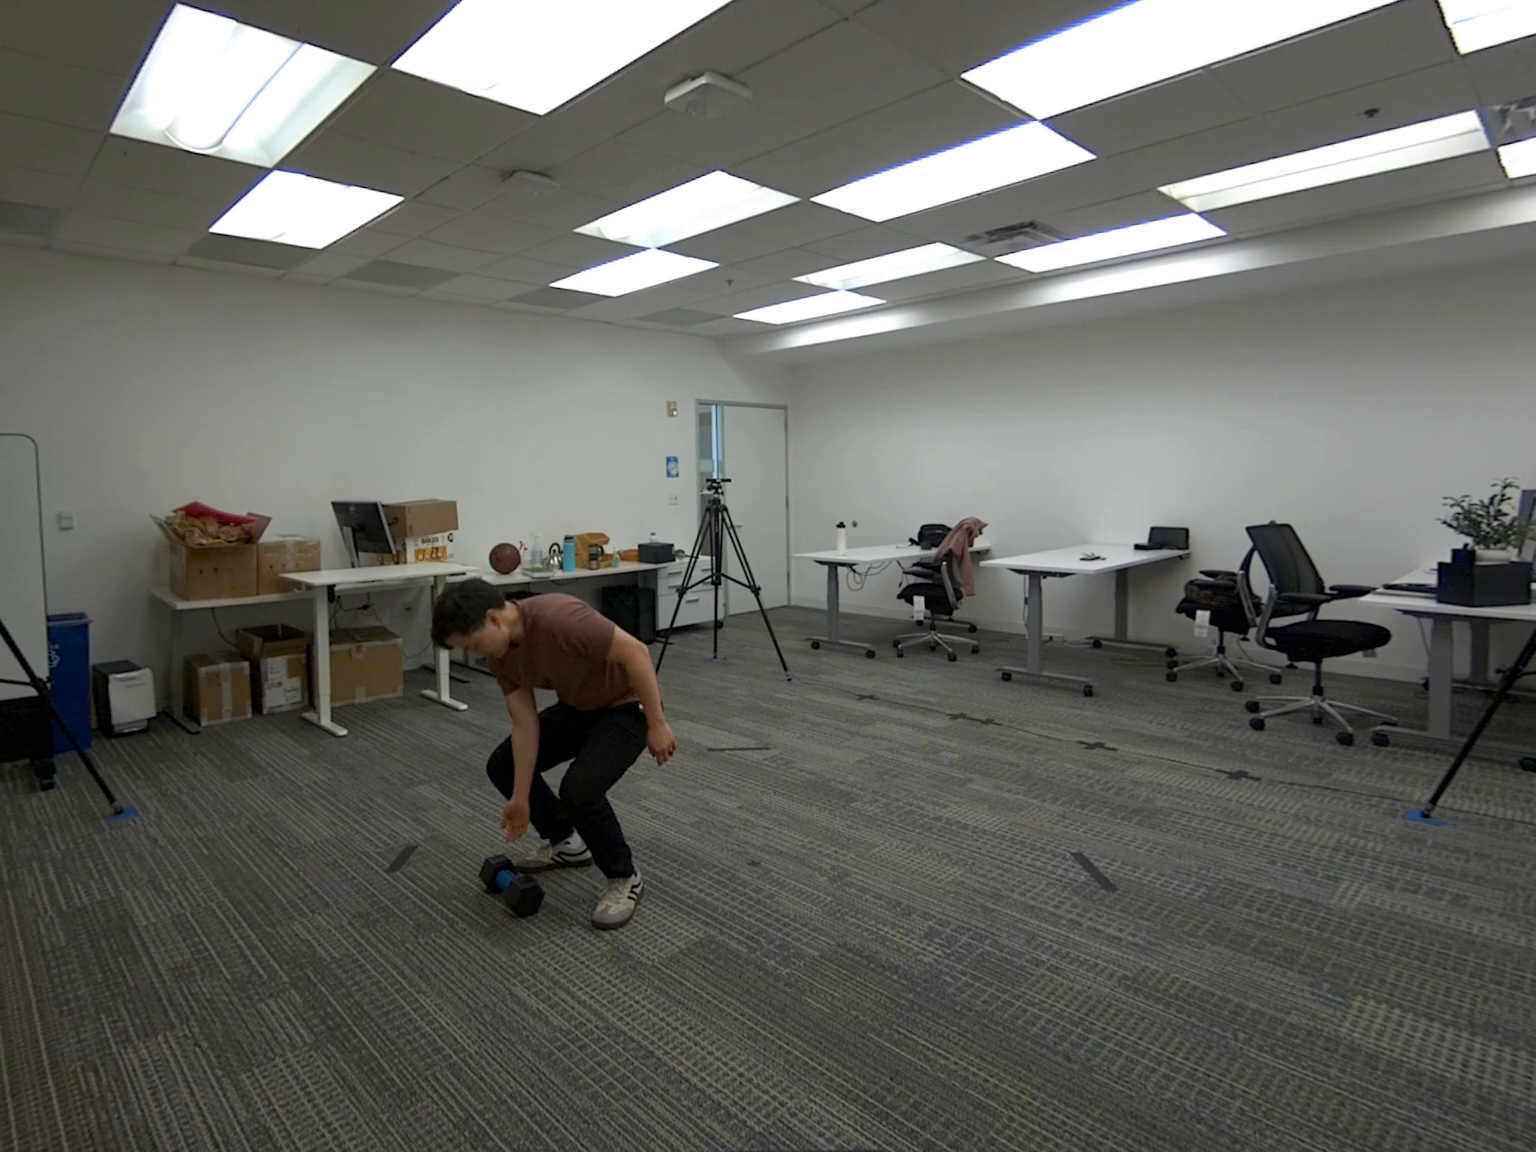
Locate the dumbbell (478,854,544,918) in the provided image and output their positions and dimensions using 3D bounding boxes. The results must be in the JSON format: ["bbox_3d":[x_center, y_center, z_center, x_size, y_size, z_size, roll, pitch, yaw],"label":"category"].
[{"bbox_3d":[-0.860,1.035,2.870,0.120,0.108,0.302,-6,8,-39],"label":"dumbbell"}]
